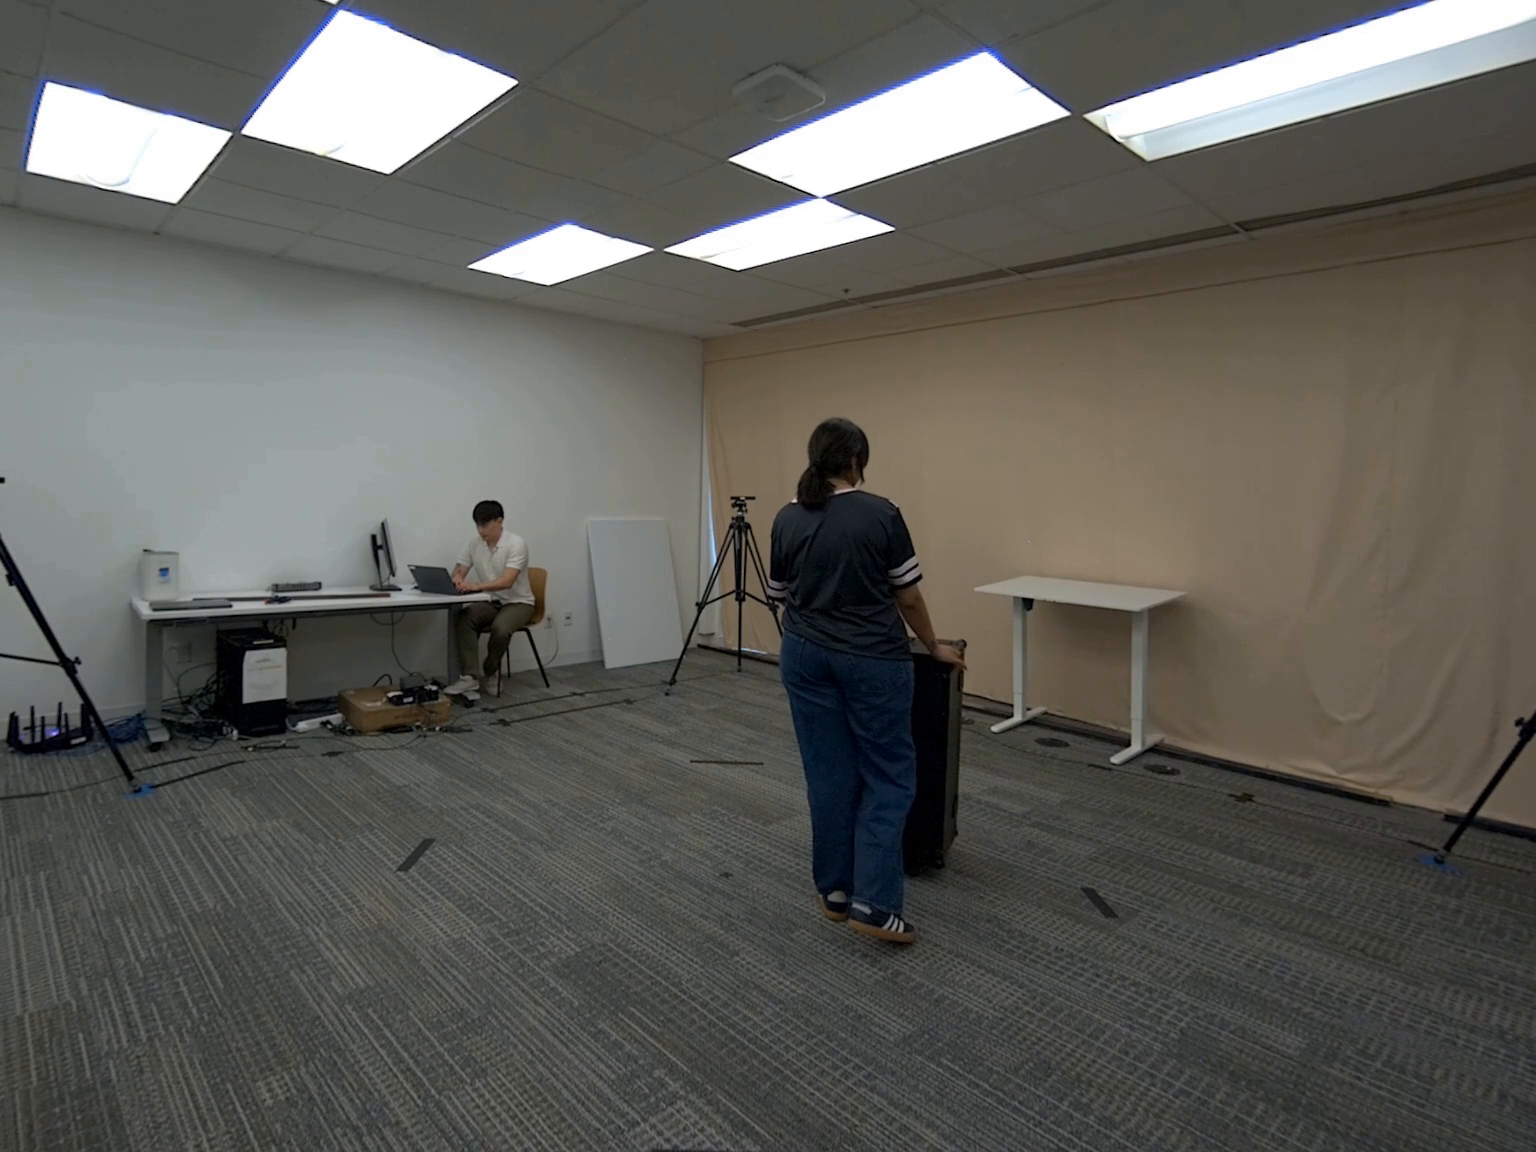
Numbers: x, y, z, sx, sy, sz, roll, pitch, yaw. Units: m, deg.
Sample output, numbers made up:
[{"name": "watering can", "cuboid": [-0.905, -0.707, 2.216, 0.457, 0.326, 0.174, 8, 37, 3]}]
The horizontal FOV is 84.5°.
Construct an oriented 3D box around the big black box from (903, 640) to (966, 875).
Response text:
[{"name": "big black box", "cuboid": [0.484, 0.685, 3.268, 0.532, 0.866, 0.380, 3, 4, 21]}]
